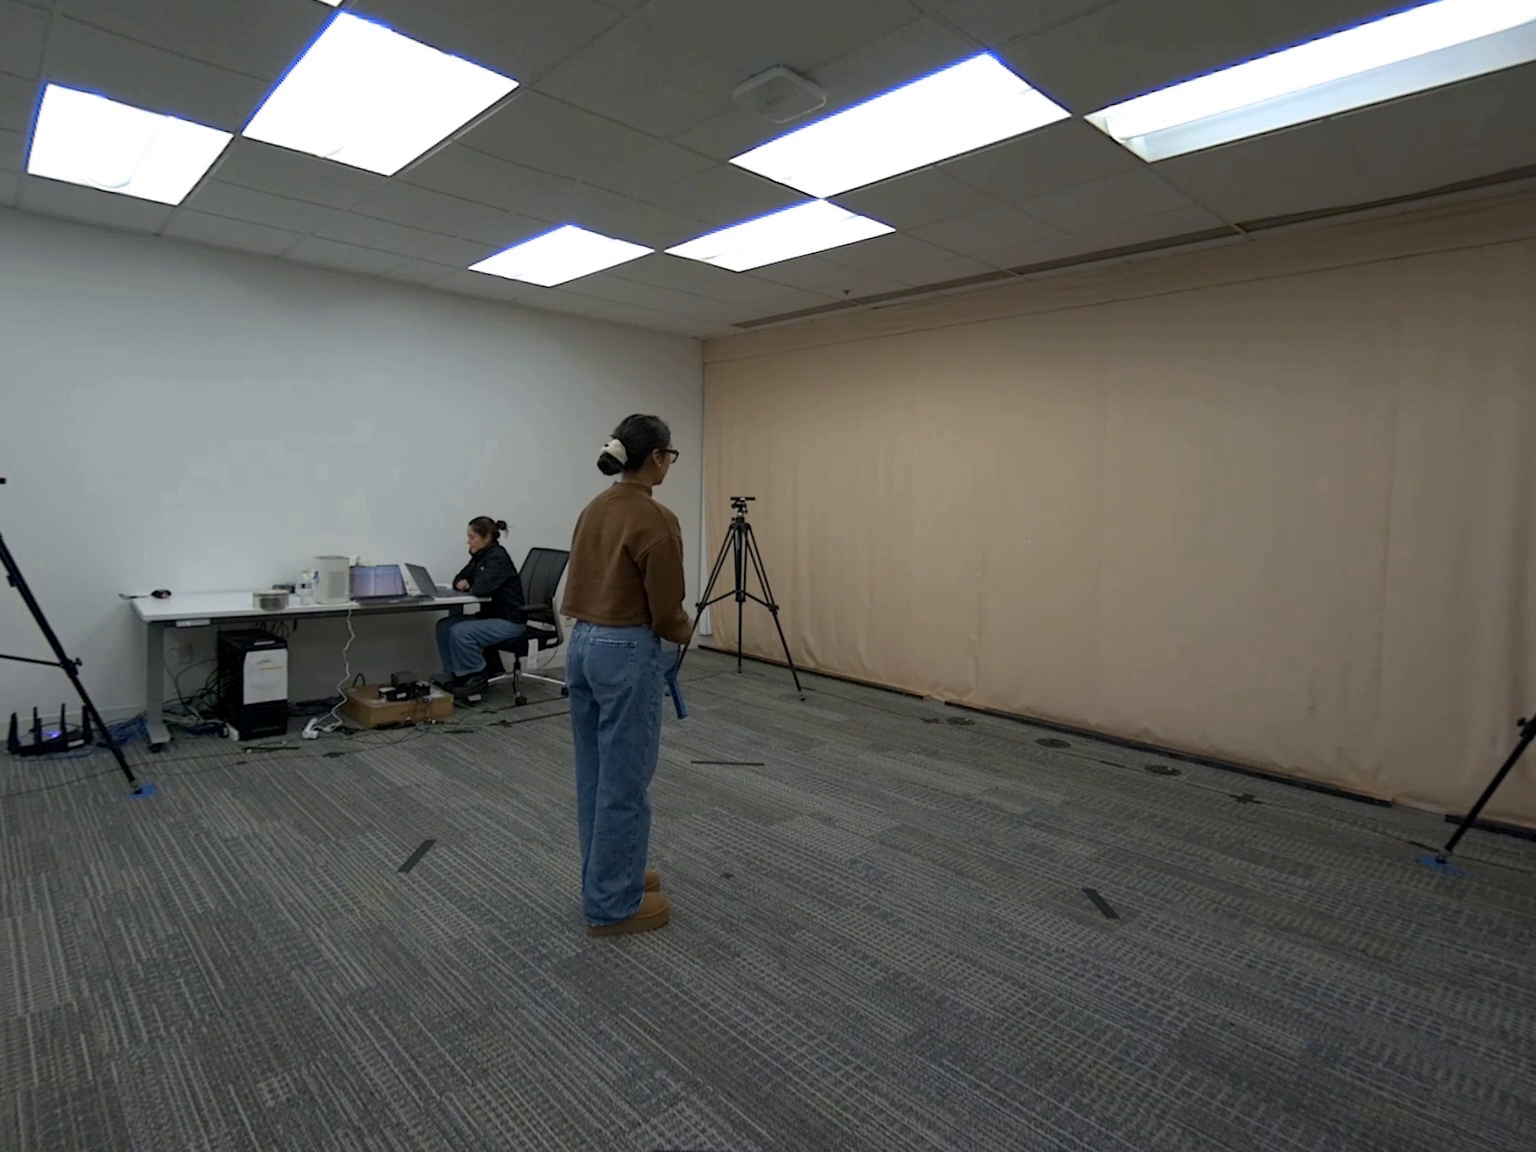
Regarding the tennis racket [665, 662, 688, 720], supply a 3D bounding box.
[{"bbox_3d":[-0.374,0.296,2.941,0.031,0.443,0.214,6,-38,-46],"label":"tennis racket"}]
